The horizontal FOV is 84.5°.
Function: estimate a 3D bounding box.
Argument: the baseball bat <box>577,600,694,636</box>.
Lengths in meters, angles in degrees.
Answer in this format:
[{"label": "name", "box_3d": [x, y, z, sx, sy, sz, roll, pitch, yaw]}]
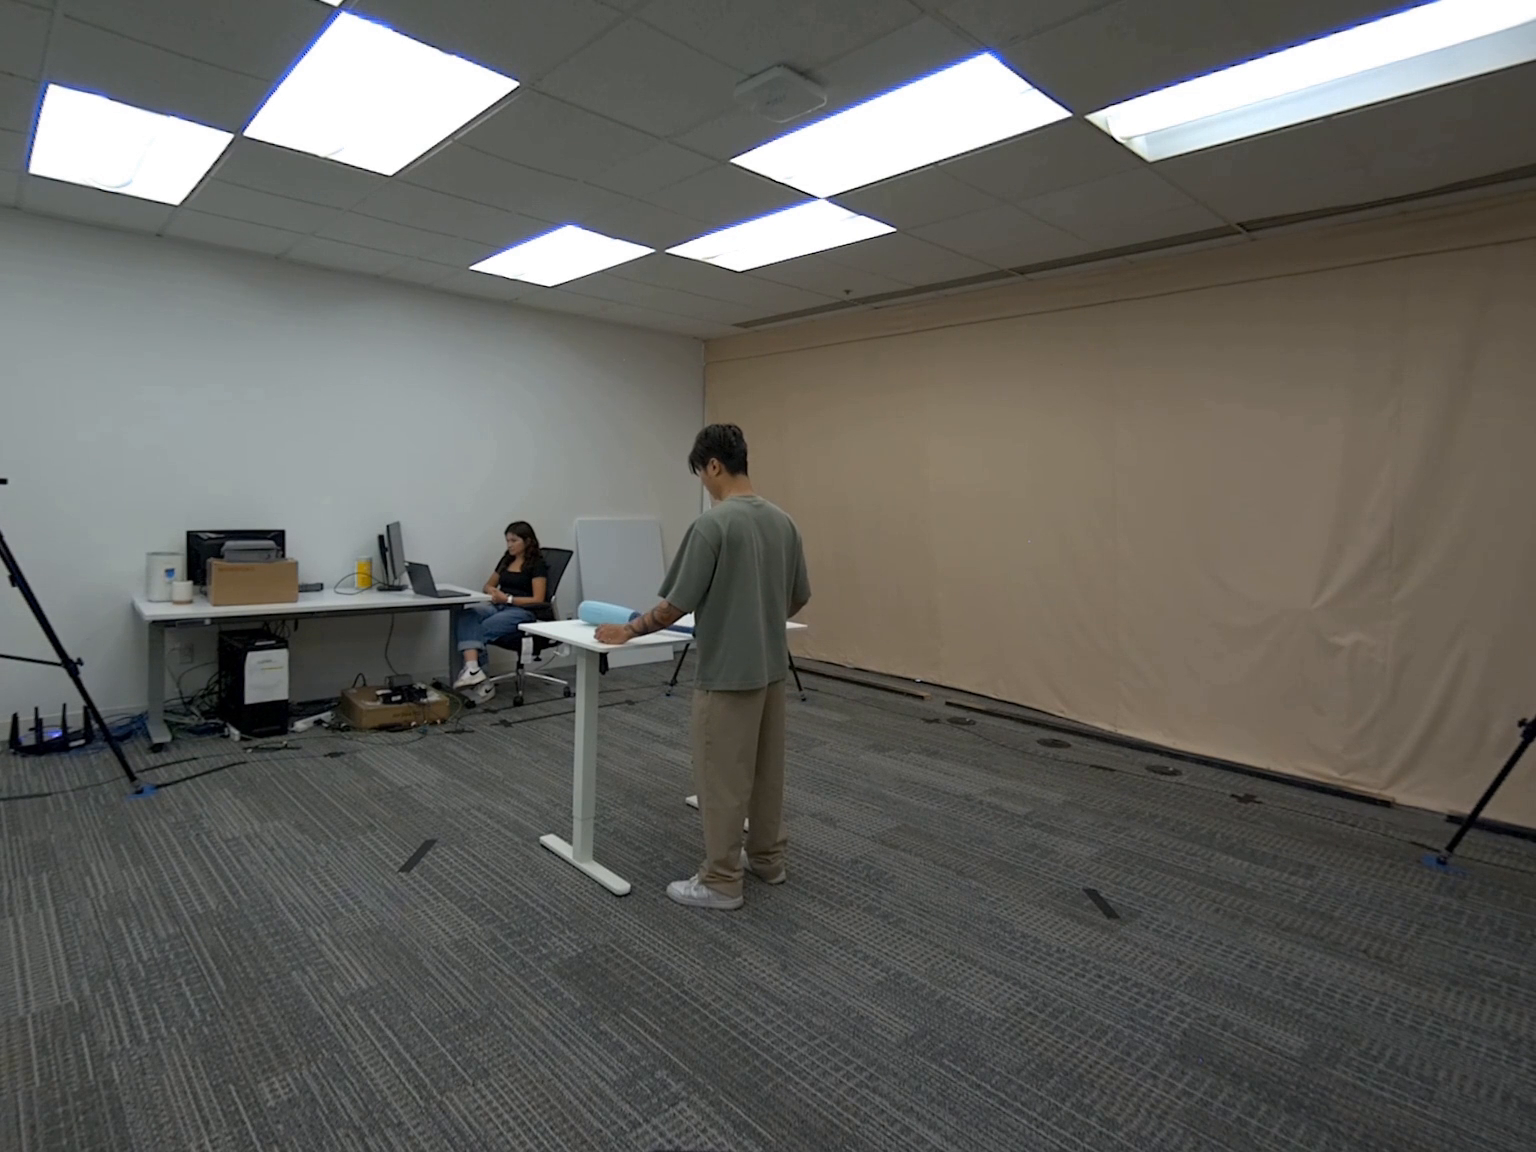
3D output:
[{"label": "baseball bat", "box_3d": [-0.492, 0.172, 3.184, 0.555, 0.089, 0.087, 8, 7, 27]}]
